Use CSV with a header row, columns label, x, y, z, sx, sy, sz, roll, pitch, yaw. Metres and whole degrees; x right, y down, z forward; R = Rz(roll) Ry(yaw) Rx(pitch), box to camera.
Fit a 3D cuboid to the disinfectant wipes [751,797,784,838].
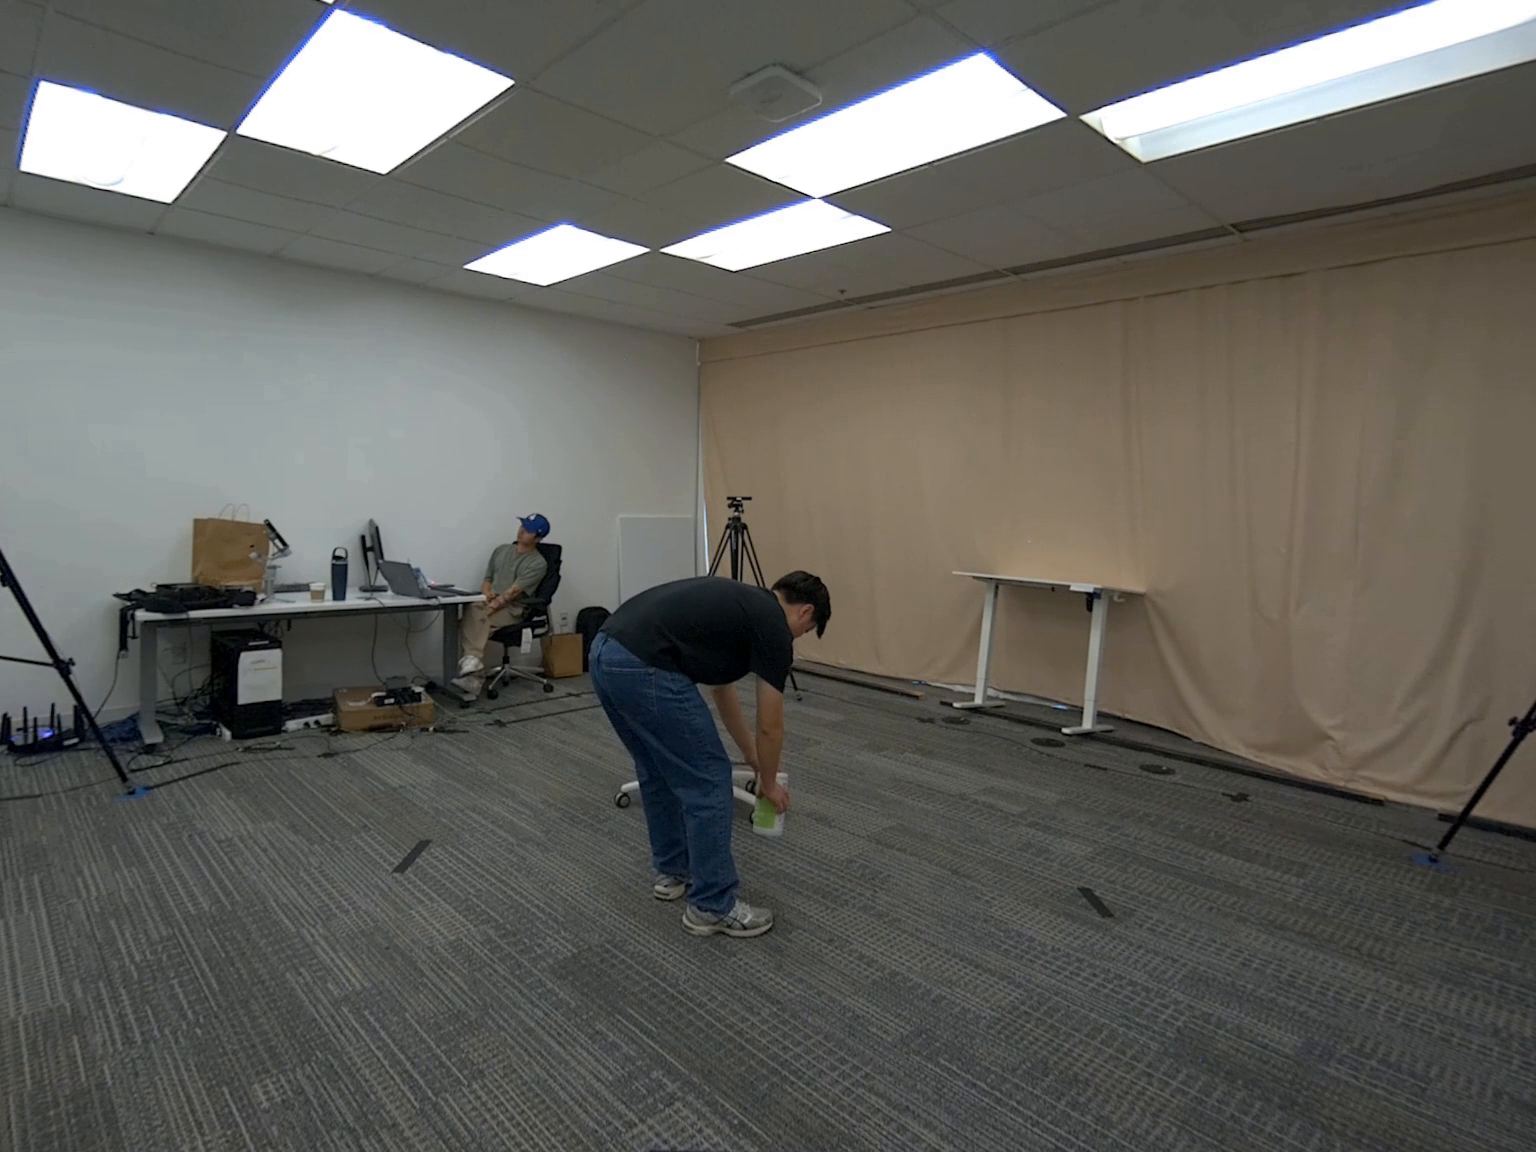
label,x,y,z,sx,sy,sz,roll,pitch,yaw
disinfectant wipes,-0.001,0.825,3.041,0.118,0.219,0.117,4,-8,-1
